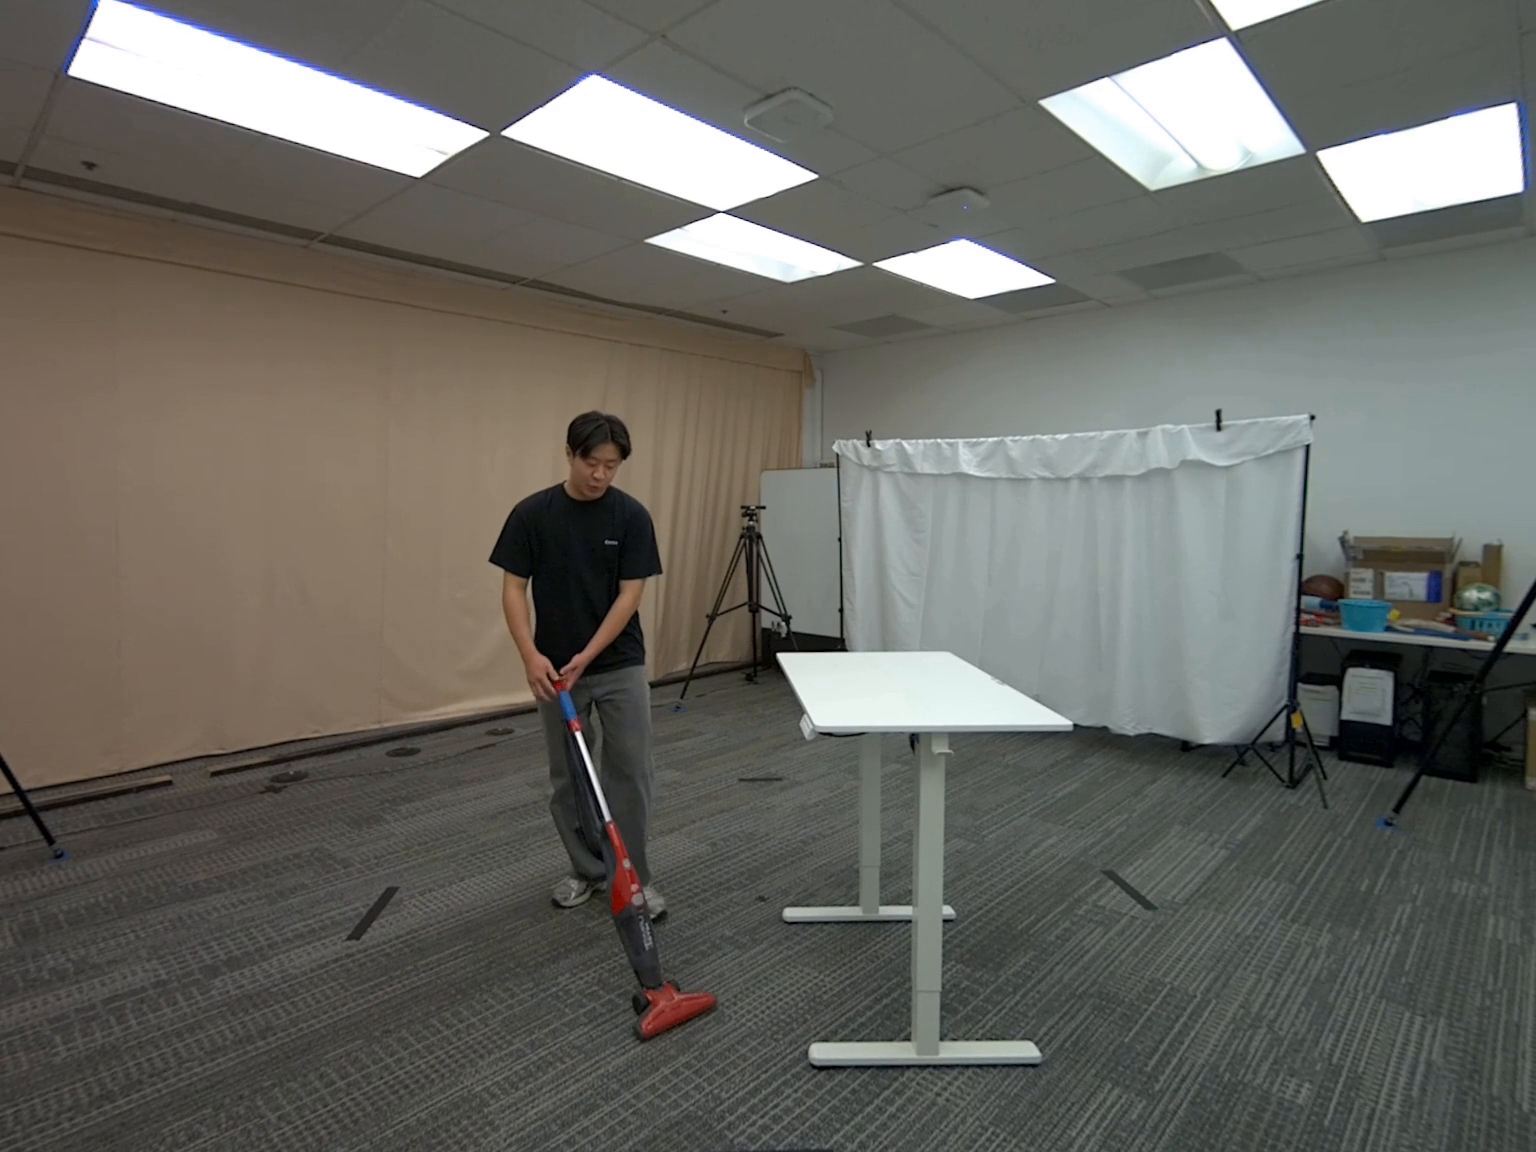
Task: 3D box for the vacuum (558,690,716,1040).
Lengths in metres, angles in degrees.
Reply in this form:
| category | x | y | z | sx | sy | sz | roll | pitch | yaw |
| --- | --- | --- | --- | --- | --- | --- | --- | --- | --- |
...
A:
| category | x | y | z | sx | sy | sz | roll | pitch | yaw |
| --- | --- | --- | --- | --- | --- | --- | --- | --- | --- |
| vacuum | -0.488 | 0.763 | 2.526 | 0.245 | 1.074 | 0.145 | -3 | -33 | -42 |
